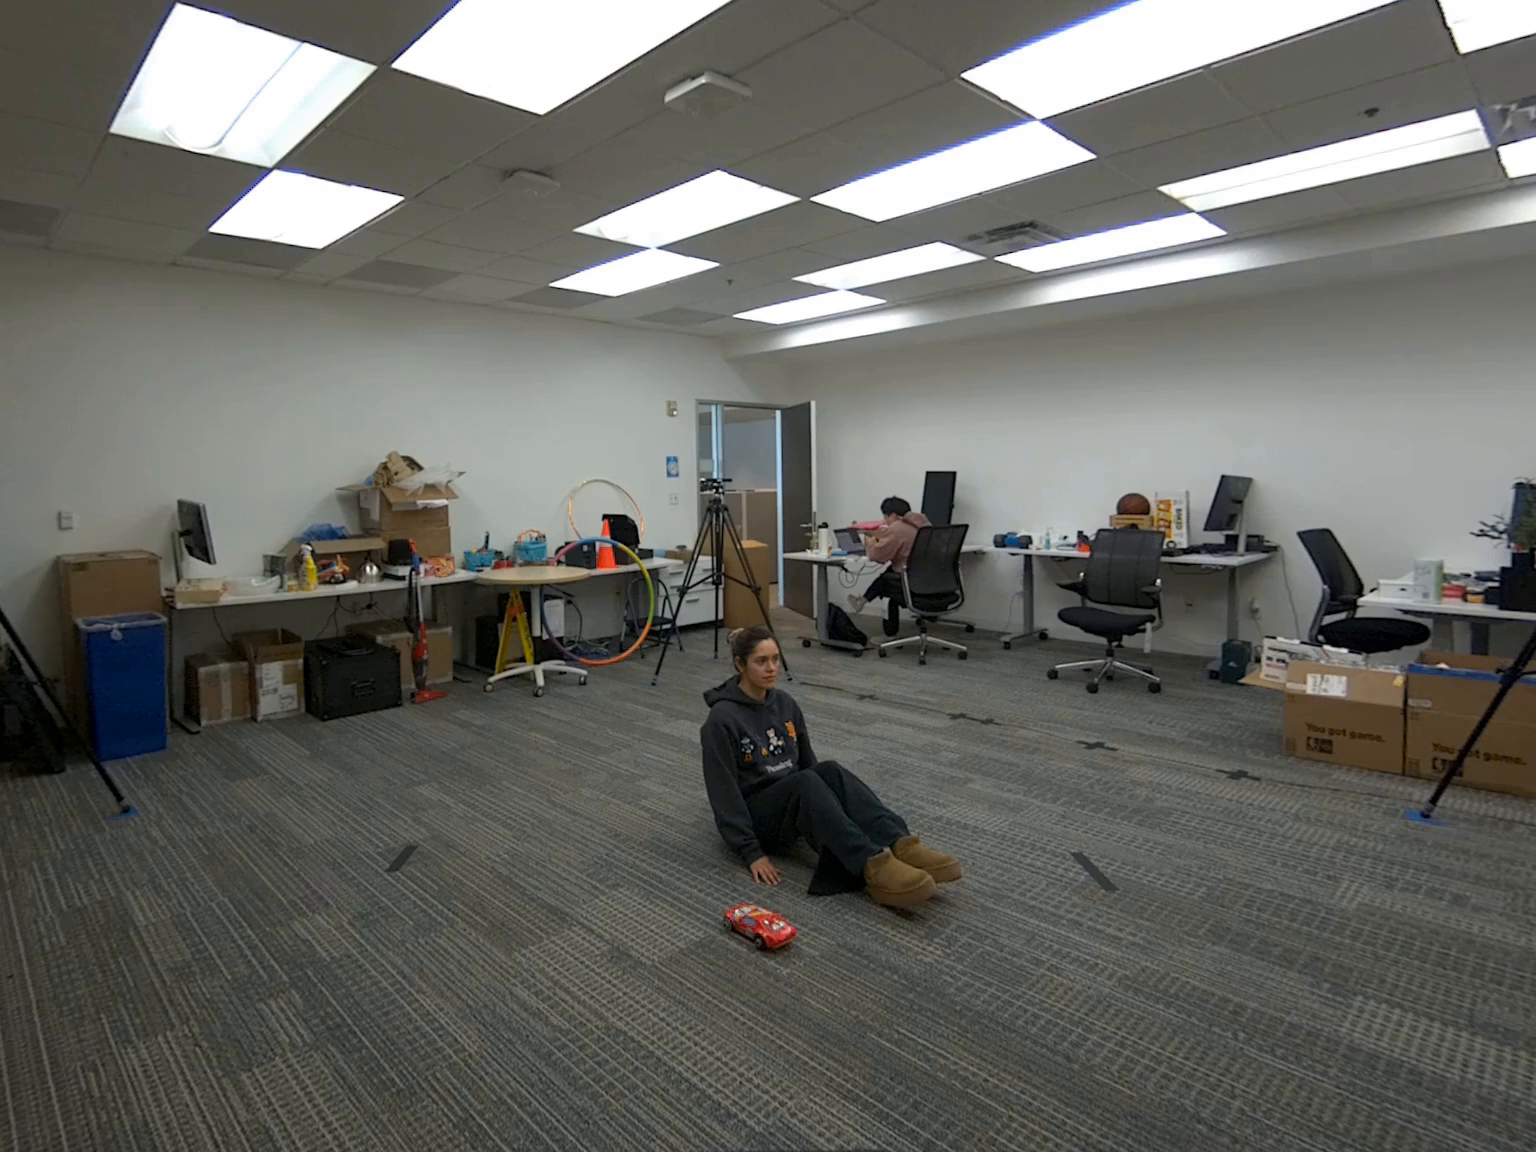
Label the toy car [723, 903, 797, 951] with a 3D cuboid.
[{"bbox_3d":[-0.018,1.074,2.590,0.127,0.083,0.260,-8,-2,-42],"label":"toy car"}]
